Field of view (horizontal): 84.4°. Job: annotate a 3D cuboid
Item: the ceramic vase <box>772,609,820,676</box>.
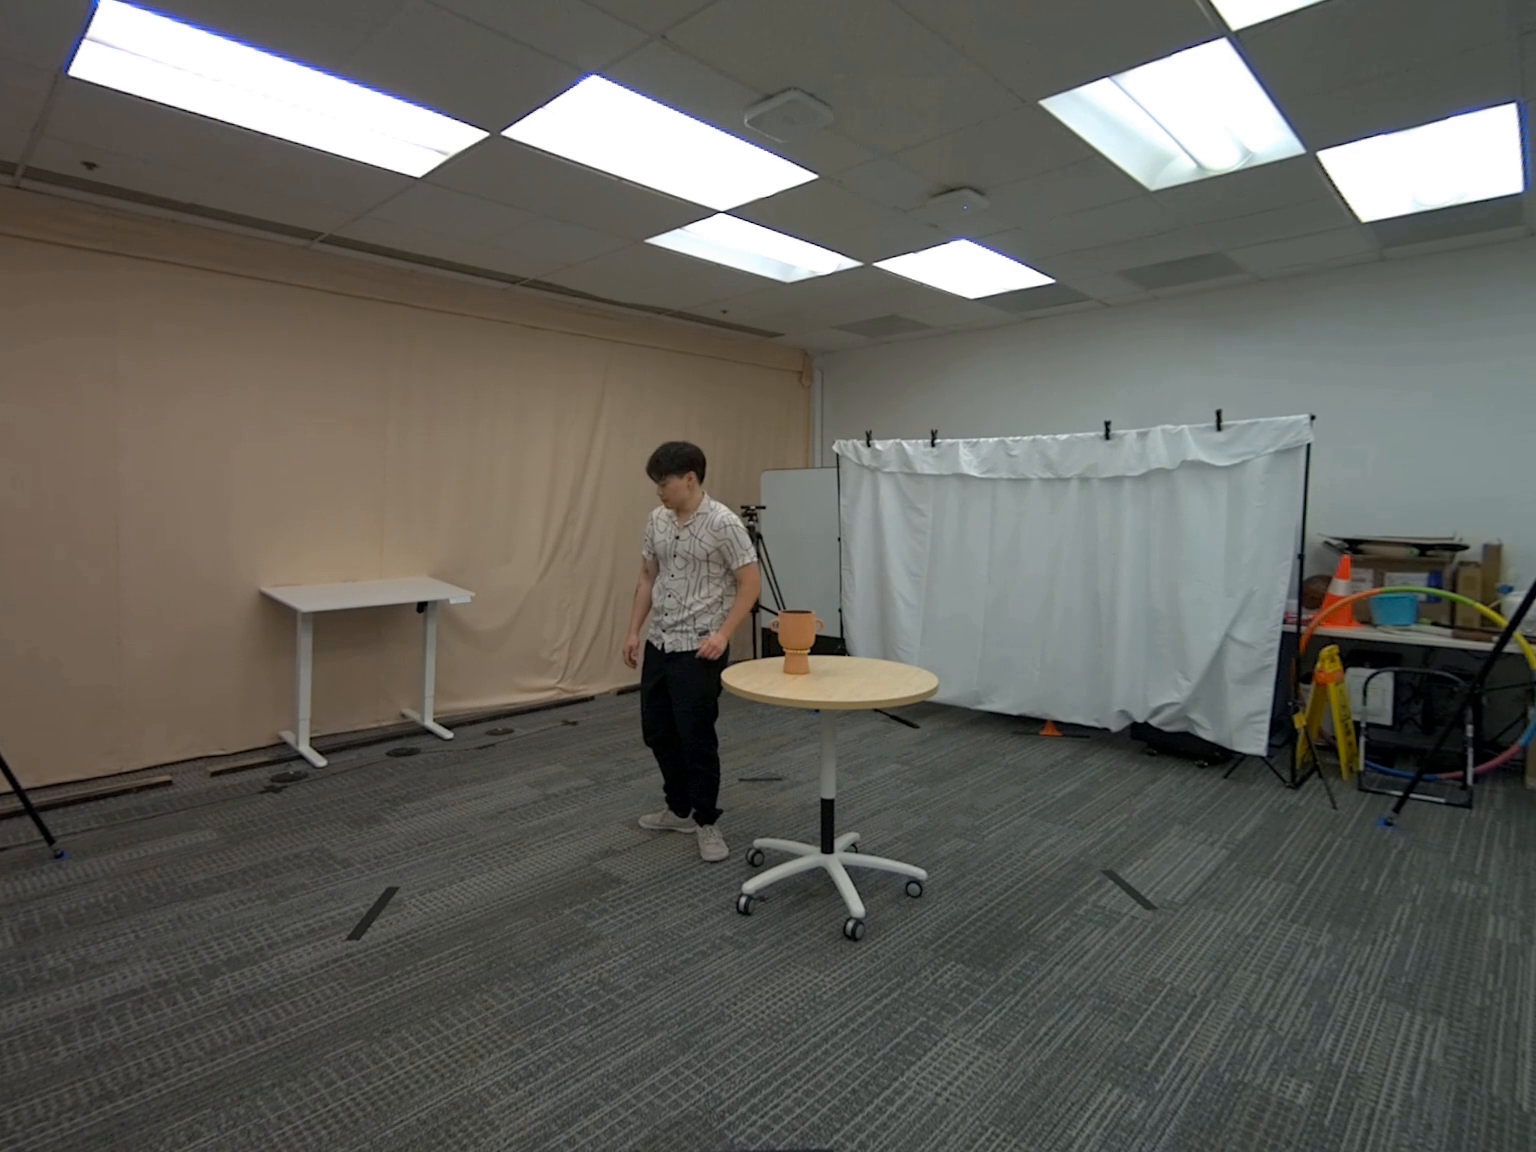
[{"bbox_3d":[0.113,0.242,3.063,0.164,0.219,0.131,3,3,34],"label":"ceramic vase"}]
